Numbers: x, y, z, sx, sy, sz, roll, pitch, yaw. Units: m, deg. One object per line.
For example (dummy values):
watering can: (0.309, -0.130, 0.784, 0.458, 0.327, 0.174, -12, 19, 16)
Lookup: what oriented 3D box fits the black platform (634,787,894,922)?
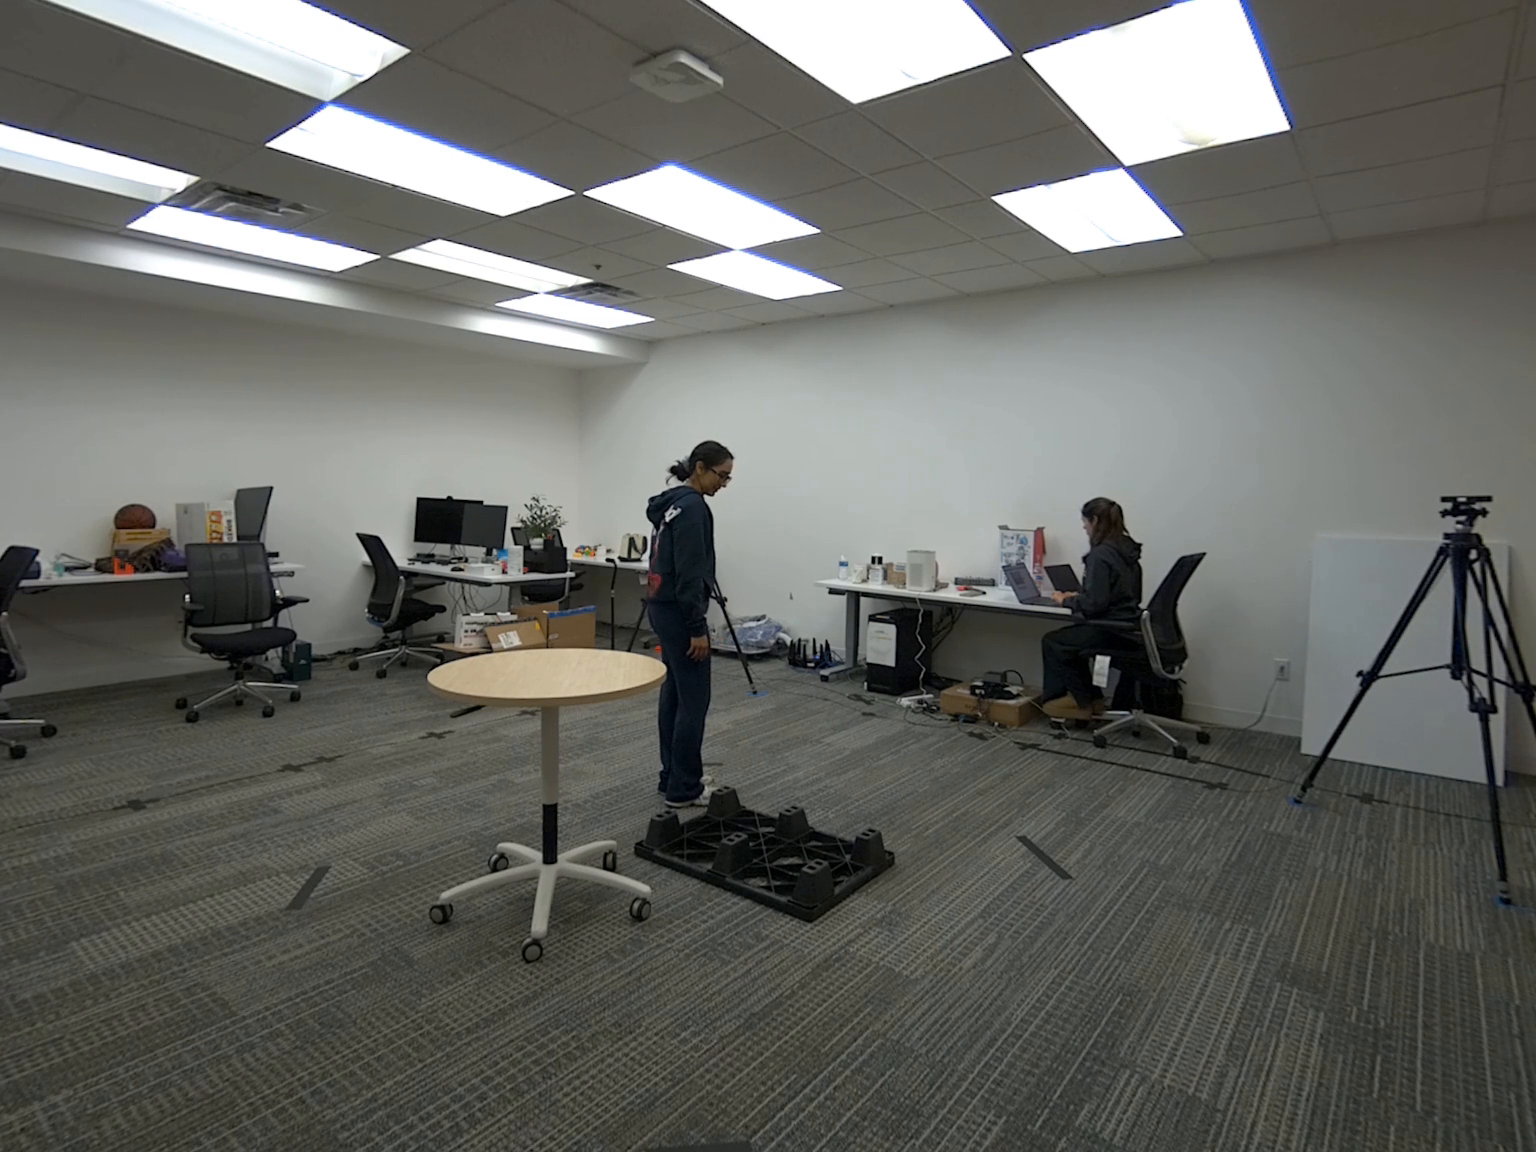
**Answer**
black platform: (-0.031, 0.994, 3.198, 0.832, 0.143, 0.588, 5, 6, 36)
